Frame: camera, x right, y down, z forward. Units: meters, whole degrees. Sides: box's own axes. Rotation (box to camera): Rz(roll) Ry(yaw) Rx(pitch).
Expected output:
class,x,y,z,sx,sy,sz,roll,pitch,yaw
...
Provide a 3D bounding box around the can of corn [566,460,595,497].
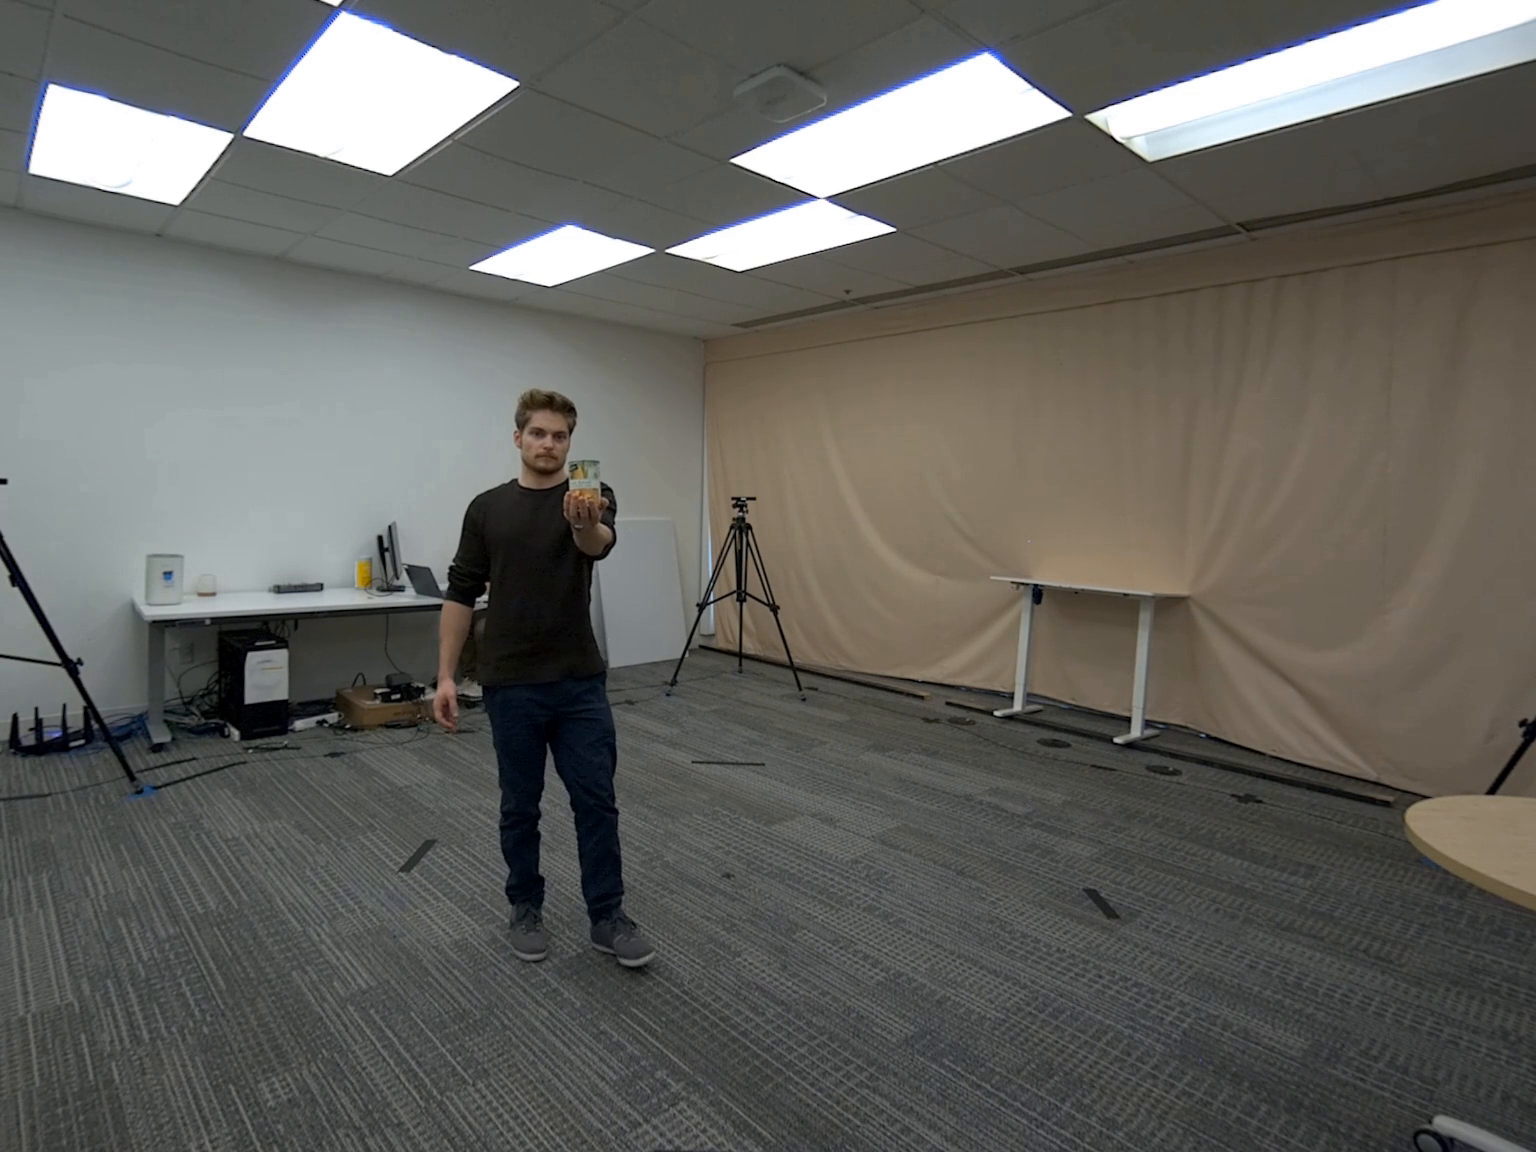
class,x,y,z,sx,sy,sz,roll,pitch,yaw
can of corn,-0.457,-0.215,2.008,0.074,0.111,0.074,0,1,-1
